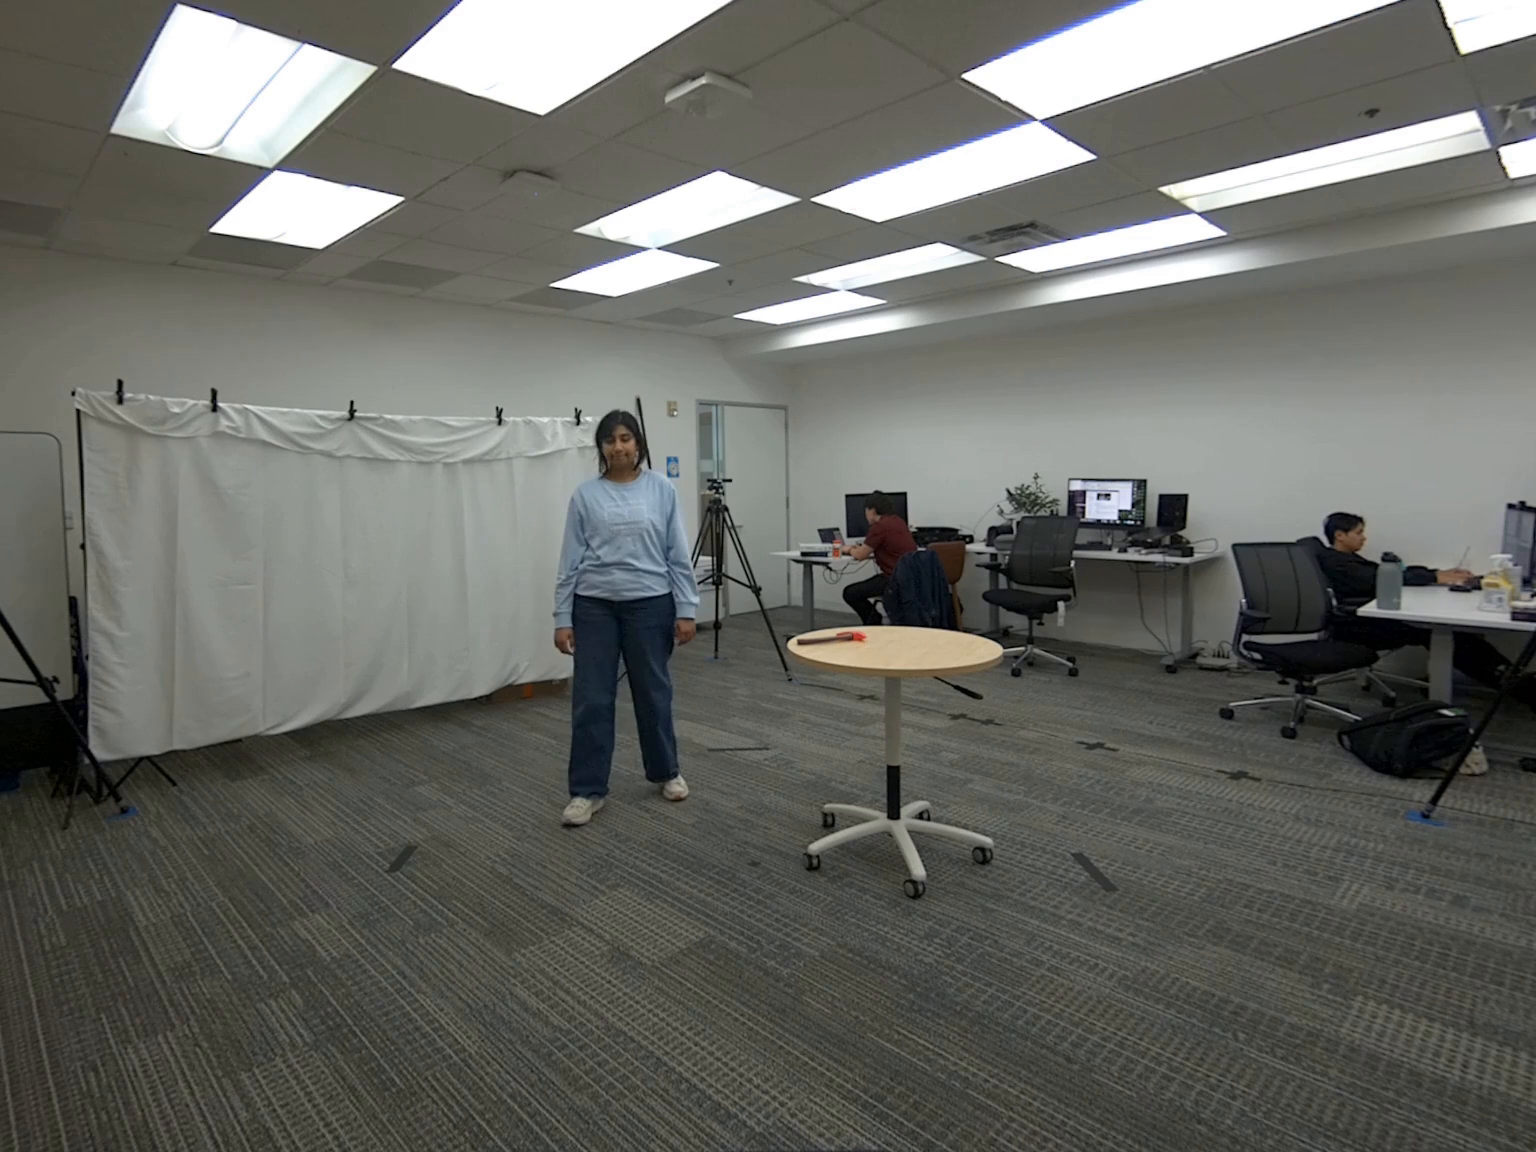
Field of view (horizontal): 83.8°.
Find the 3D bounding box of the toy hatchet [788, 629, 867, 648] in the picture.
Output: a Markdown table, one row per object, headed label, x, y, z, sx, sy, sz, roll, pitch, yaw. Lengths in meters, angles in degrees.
| label | x | y | z | sx | sy | sz | roll | pitch | yaw |
| --- | --- | --- | --- | --- | --- | --- | --- | --- | --- |
| toy hatchet | 0.229 | 0.229 | 3.220 | 0.268 | 0.029 | 0.133 | -3 | 6 | -9 |
